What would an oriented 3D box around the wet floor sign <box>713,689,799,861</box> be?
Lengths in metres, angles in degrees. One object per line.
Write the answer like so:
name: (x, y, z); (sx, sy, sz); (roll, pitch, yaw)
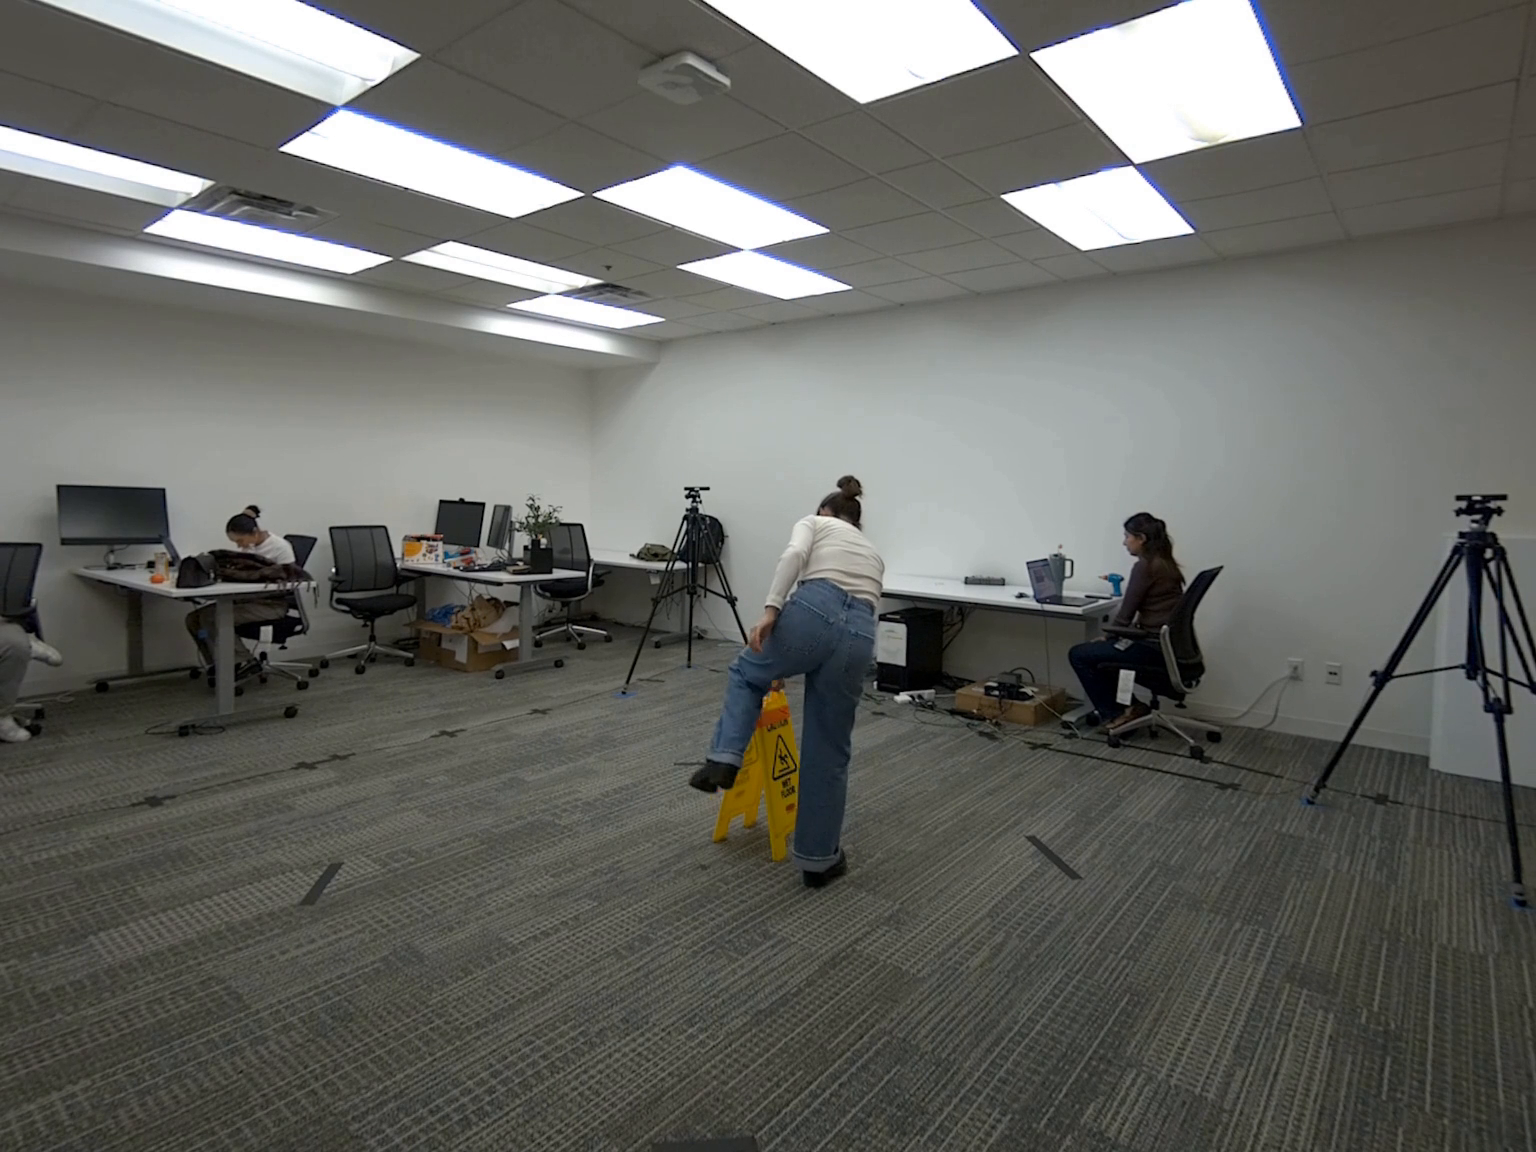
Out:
wet floor sign: (-0.014, 0.721, 3.351); (0.299, 0.644, 0.274); (4, 4, 35)
